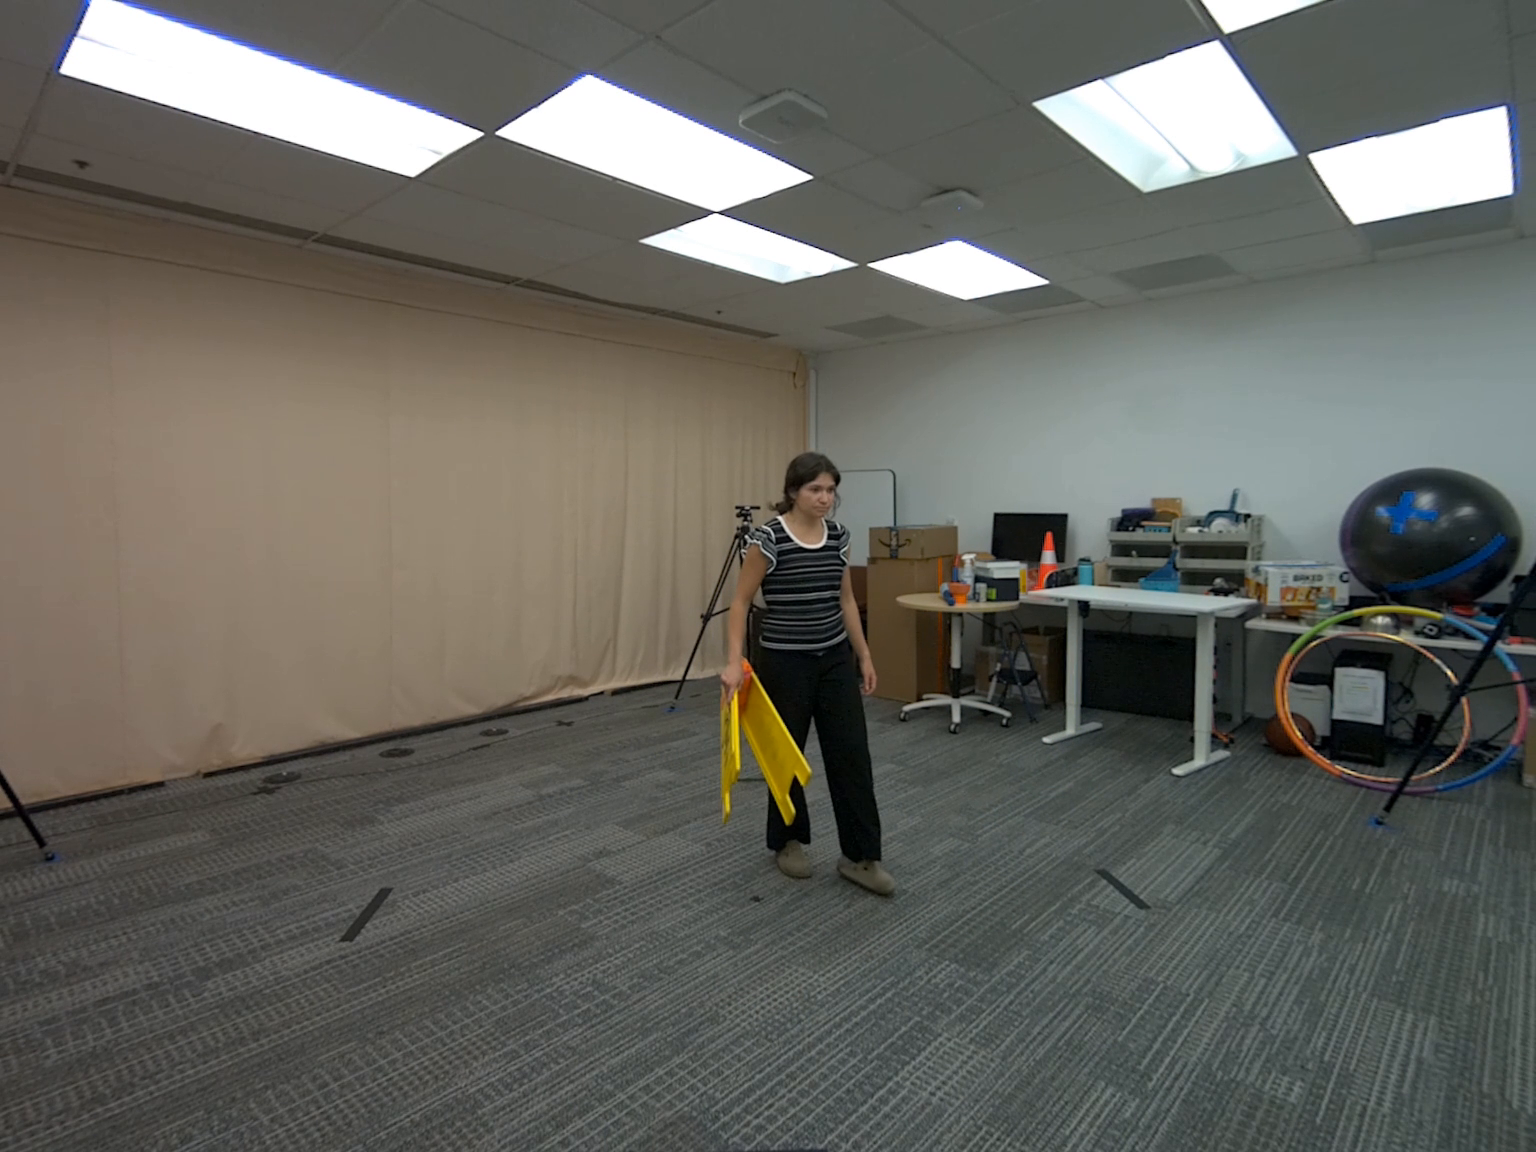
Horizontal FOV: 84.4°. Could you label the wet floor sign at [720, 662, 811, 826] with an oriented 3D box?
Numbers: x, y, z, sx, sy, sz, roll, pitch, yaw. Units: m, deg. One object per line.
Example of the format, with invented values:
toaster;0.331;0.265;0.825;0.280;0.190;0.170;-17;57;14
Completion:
wet floor sign;-0.078;0.534;3.014;0.284;0.279;0.664;3;35;-18
